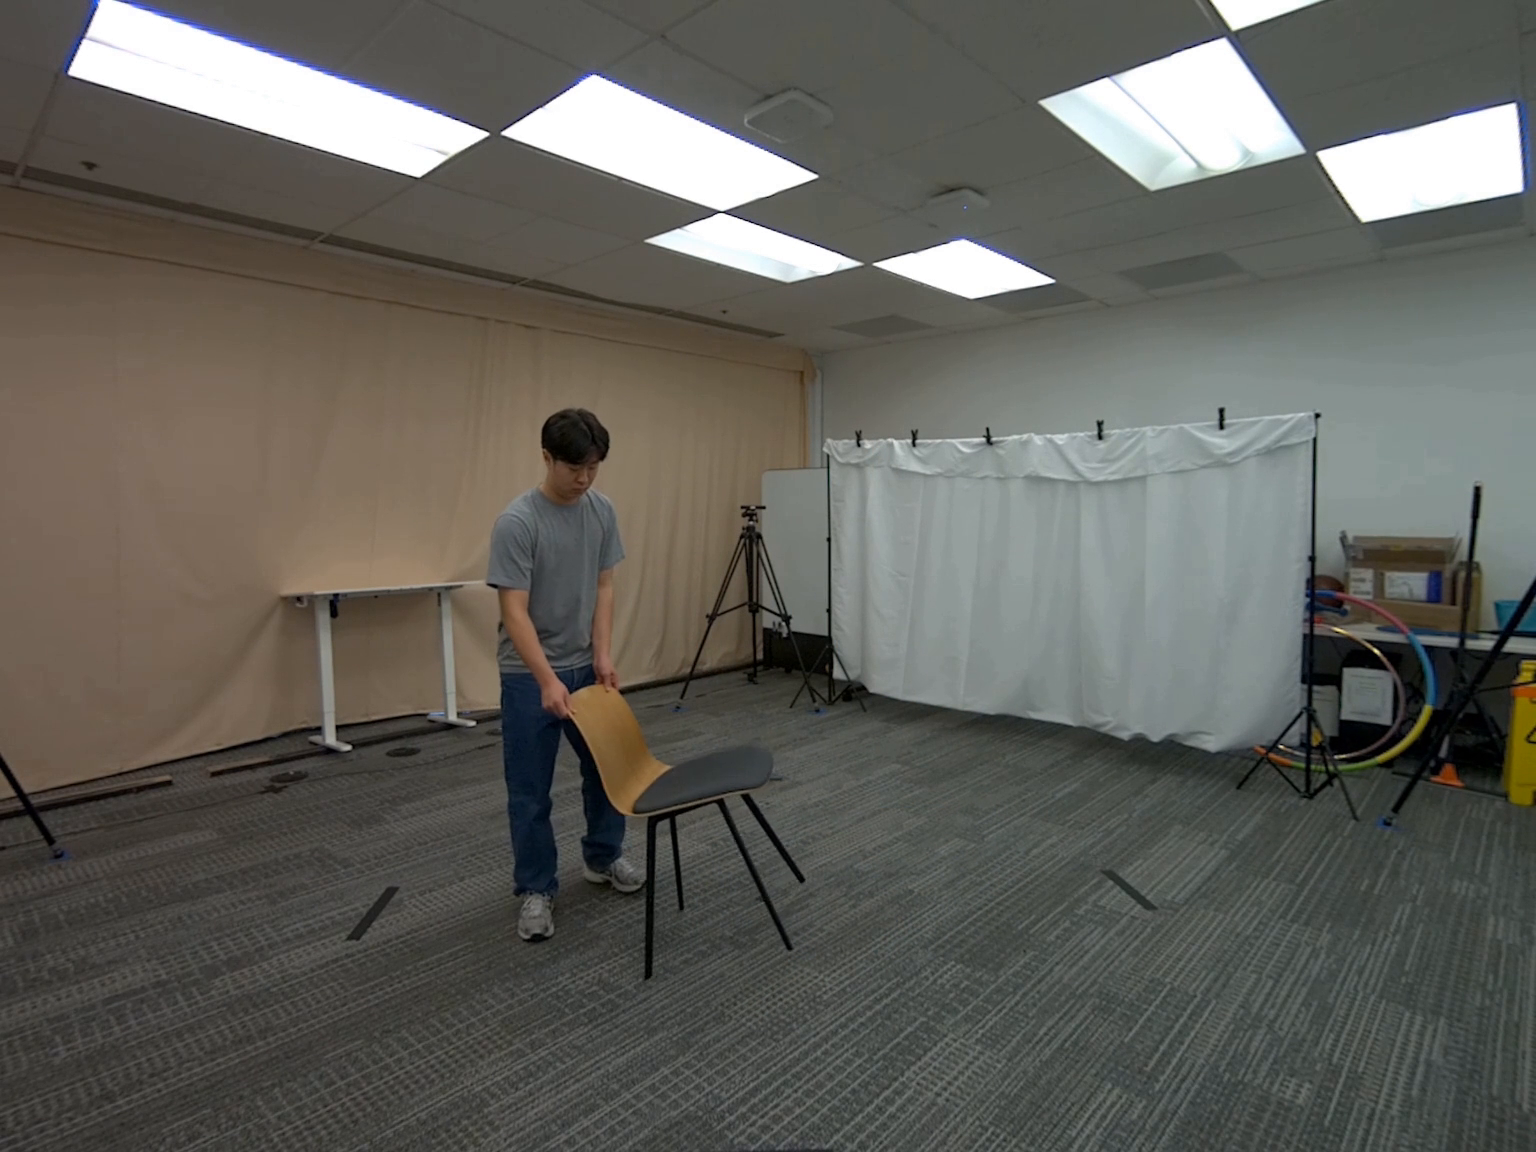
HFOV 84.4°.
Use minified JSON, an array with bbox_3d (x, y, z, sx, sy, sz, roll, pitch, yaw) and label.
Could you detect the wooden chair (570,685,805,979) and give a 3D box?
[{"bbox_3d":[-0.229,0.702,2.644,0.527,0.878,0.474,-21,-1,10],"label":"wooden chair"}]
